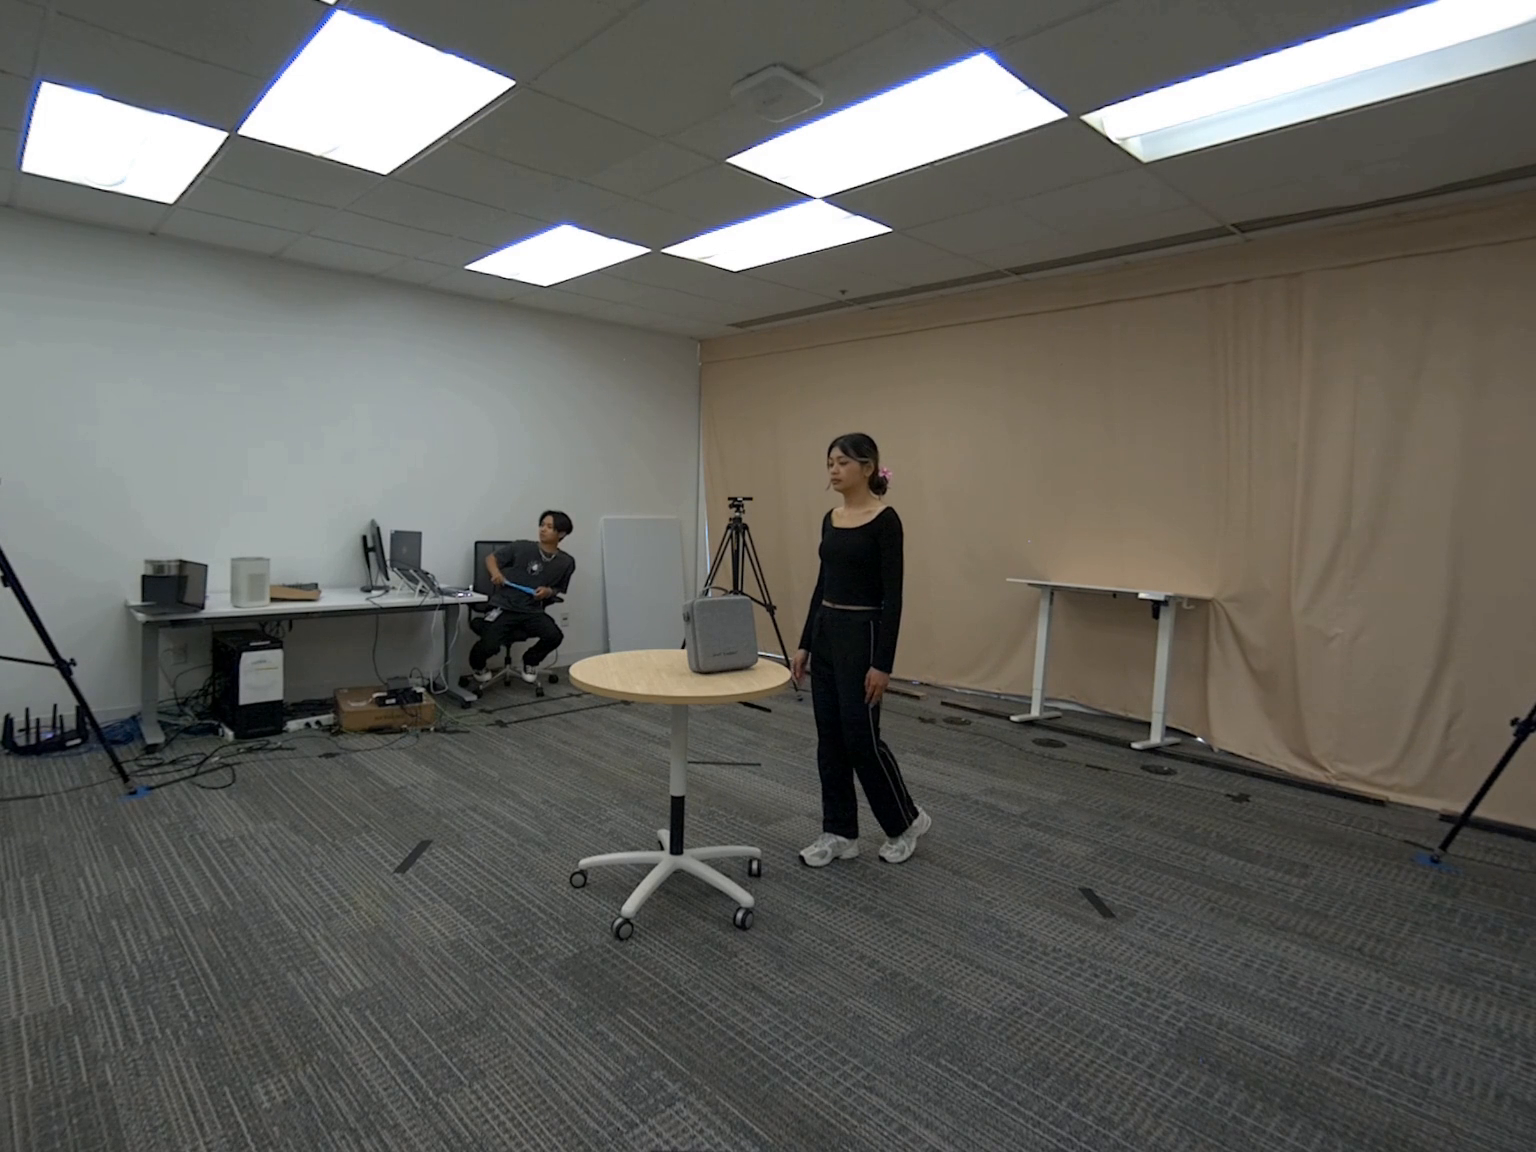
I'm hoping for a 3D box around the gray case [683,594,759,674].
[{"bbox_3d":[-0.173,0.198,2.947,0.251,0.262,0.106,-1,-9,-36],"label":"gray case"}]
